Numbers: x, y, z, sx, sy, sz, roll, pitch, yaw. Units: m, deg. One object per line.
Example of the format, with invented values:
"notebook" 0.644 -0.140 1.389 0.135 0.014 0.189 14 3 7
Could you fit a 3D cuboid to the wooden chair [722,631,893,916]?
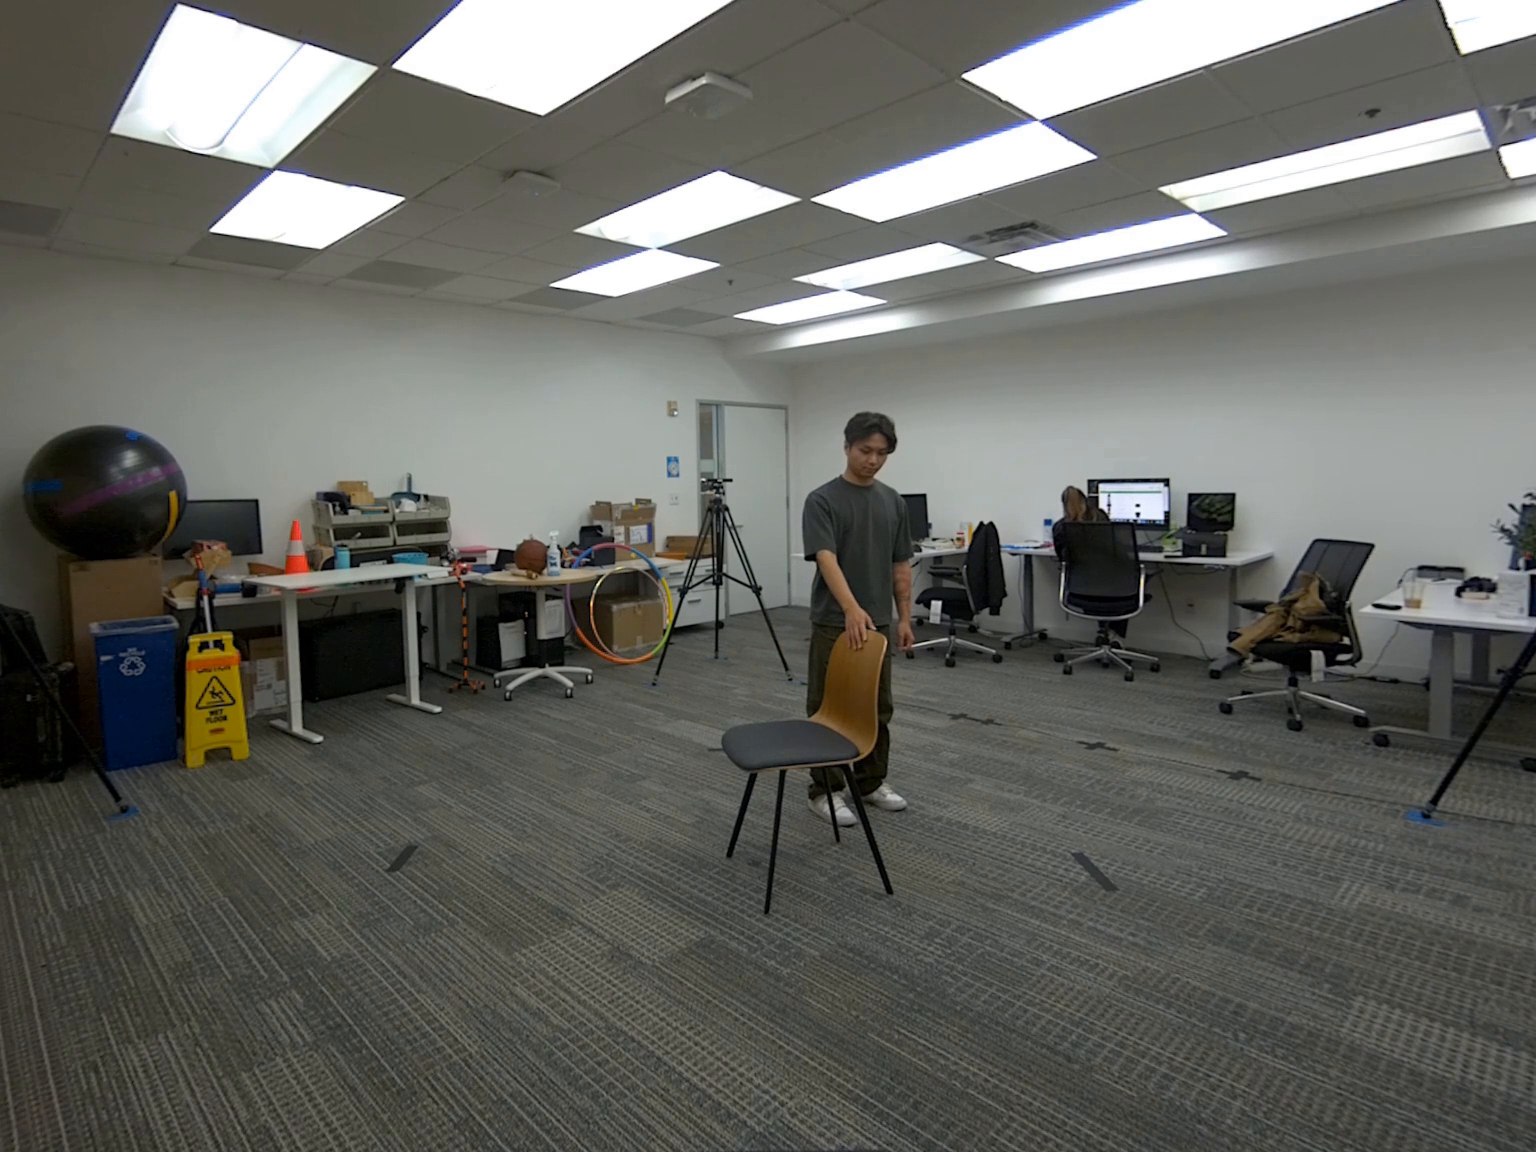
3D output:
"wooden chair" 0.122 0.629 2.976 0.514 0.875 0.487 2 4 -17
